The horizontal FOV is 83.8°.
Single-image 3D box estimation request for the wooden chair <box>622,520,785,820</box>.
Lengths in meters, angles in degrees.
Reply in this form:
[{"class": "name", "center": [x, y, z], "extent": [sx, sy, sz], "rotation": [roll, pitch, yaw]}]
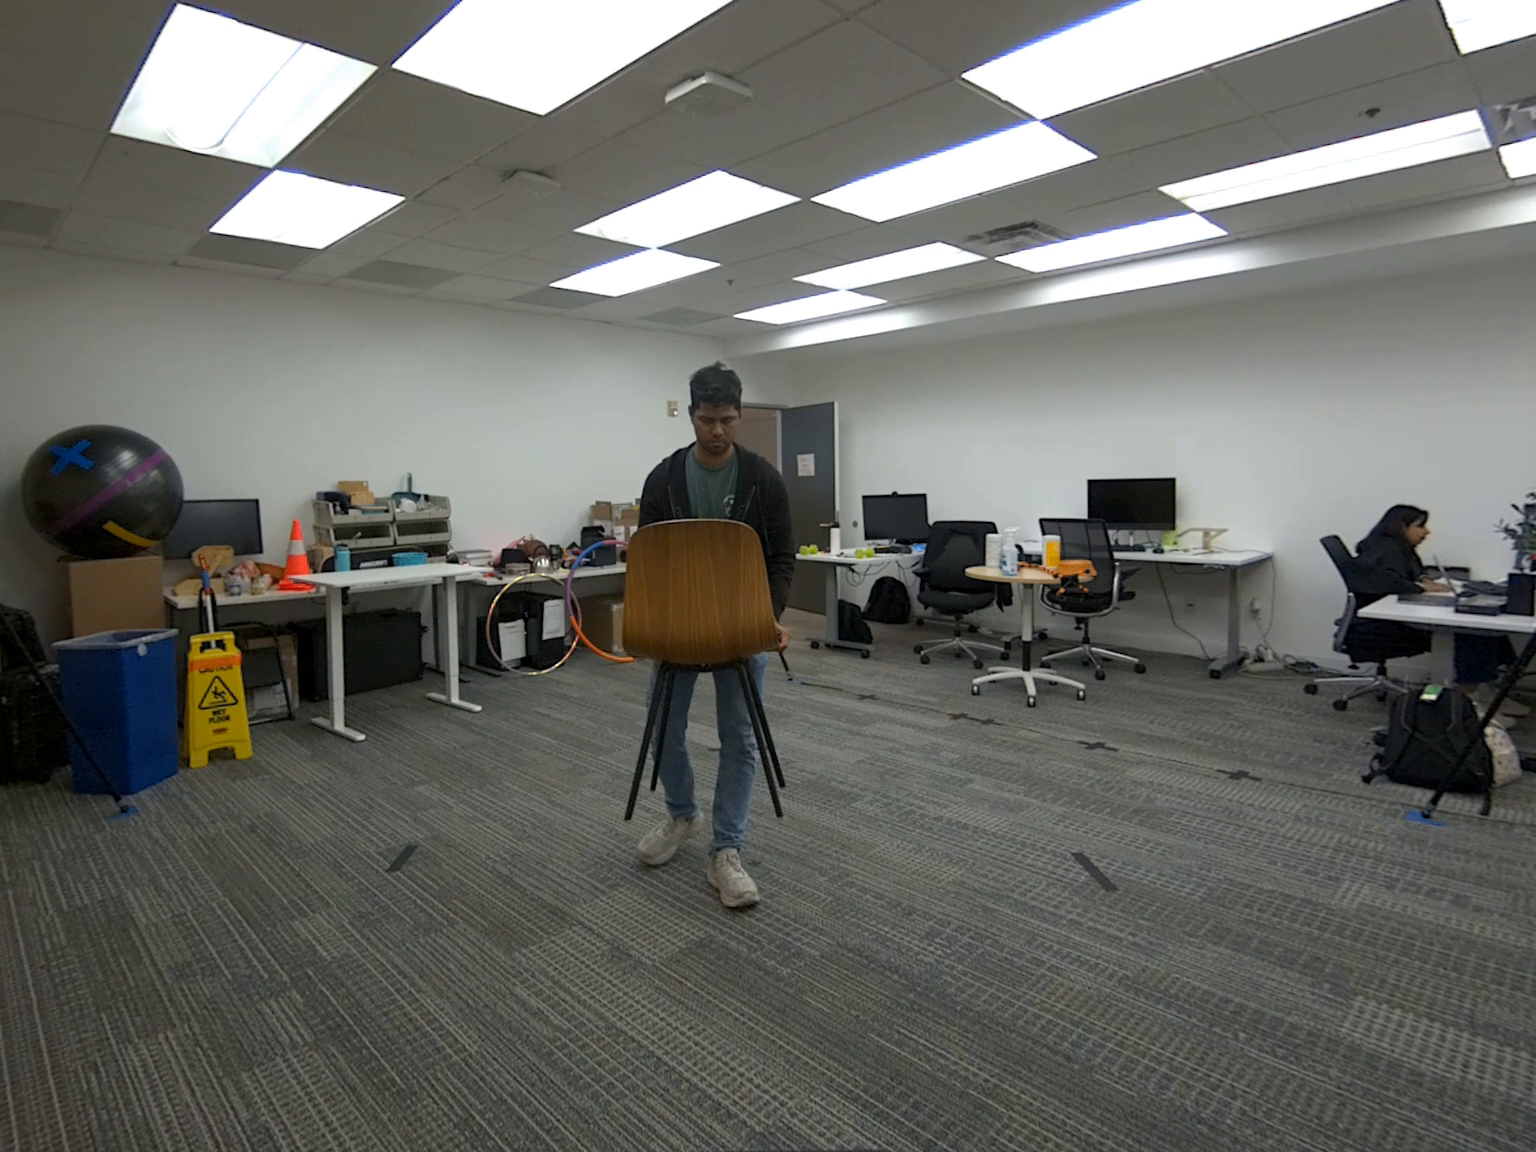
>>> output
[{"class": "wooden chair", "center": [-0.199, 0.283, 2.674], "extent": [0.480, 0.879, 0.520], "rotation": [-4, -2, 3]}]
